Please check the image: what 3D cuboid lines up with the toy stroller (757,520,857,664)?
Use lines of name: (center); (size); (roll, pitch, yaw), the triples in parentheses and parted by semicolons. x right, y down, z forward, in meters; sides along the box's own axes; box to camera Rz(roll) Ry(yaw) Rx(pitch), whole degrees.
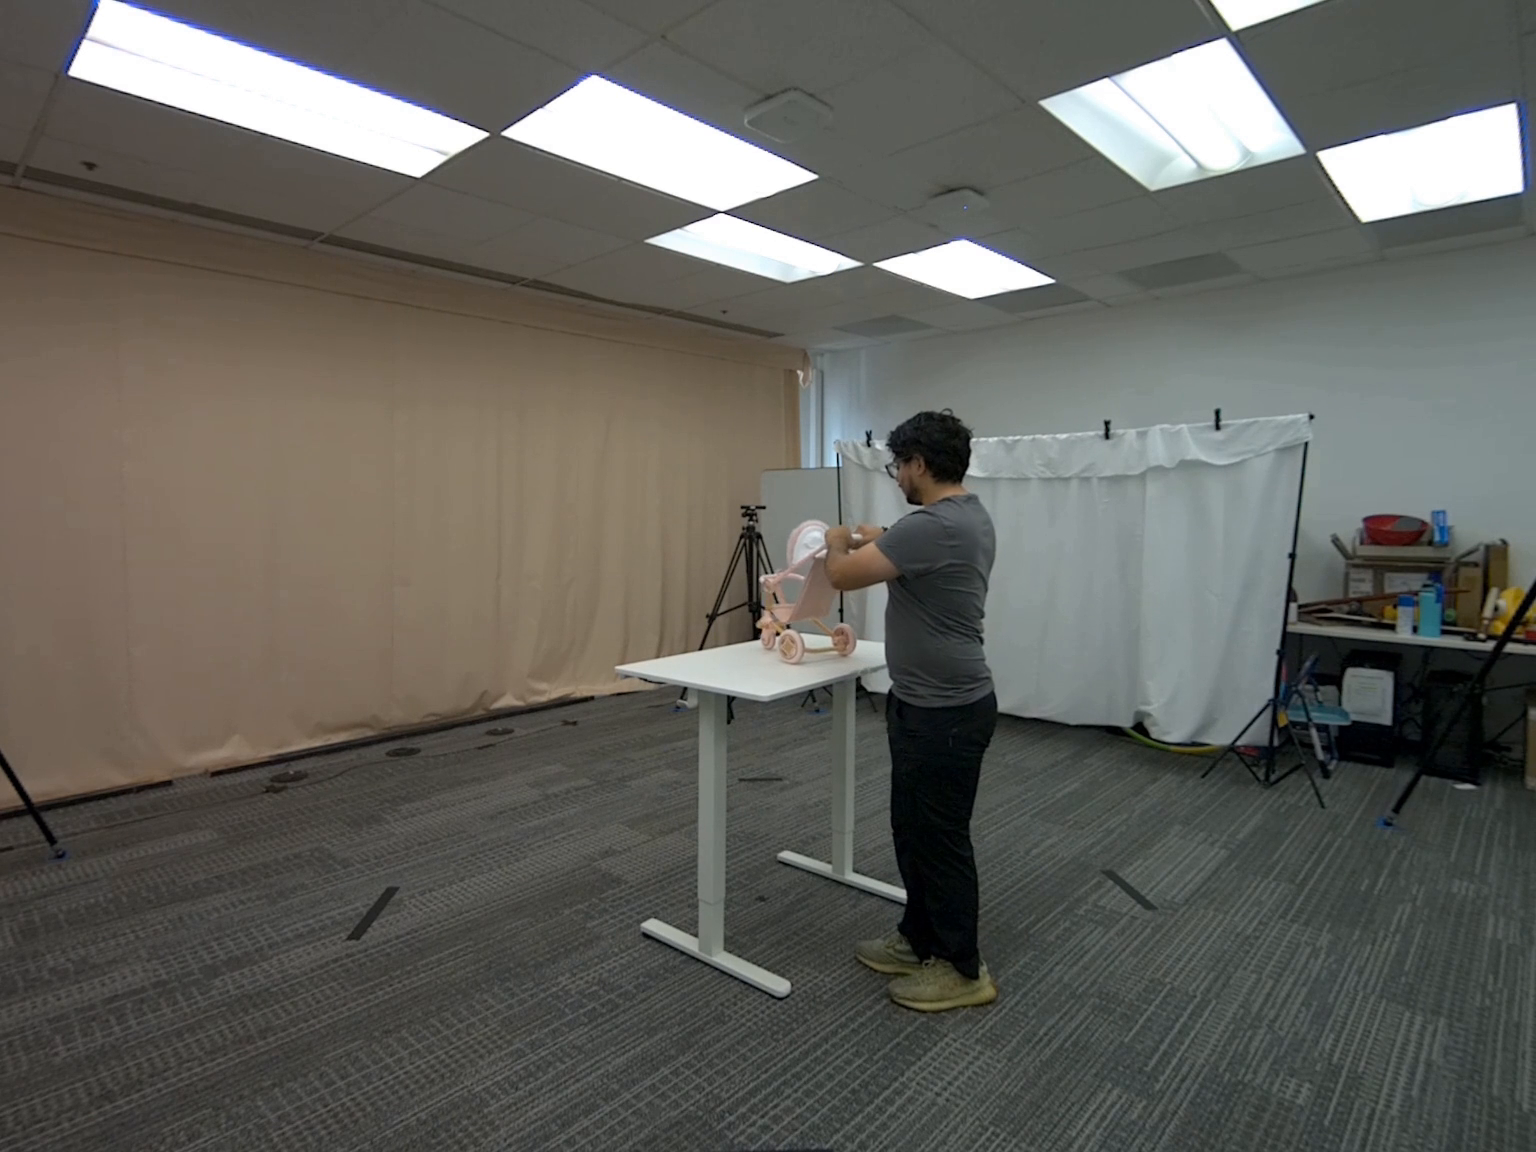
toy stroller: (0.138, 0.052, 2.816); (0.273, 0.531, 0.354); (-2, 20, -37)
